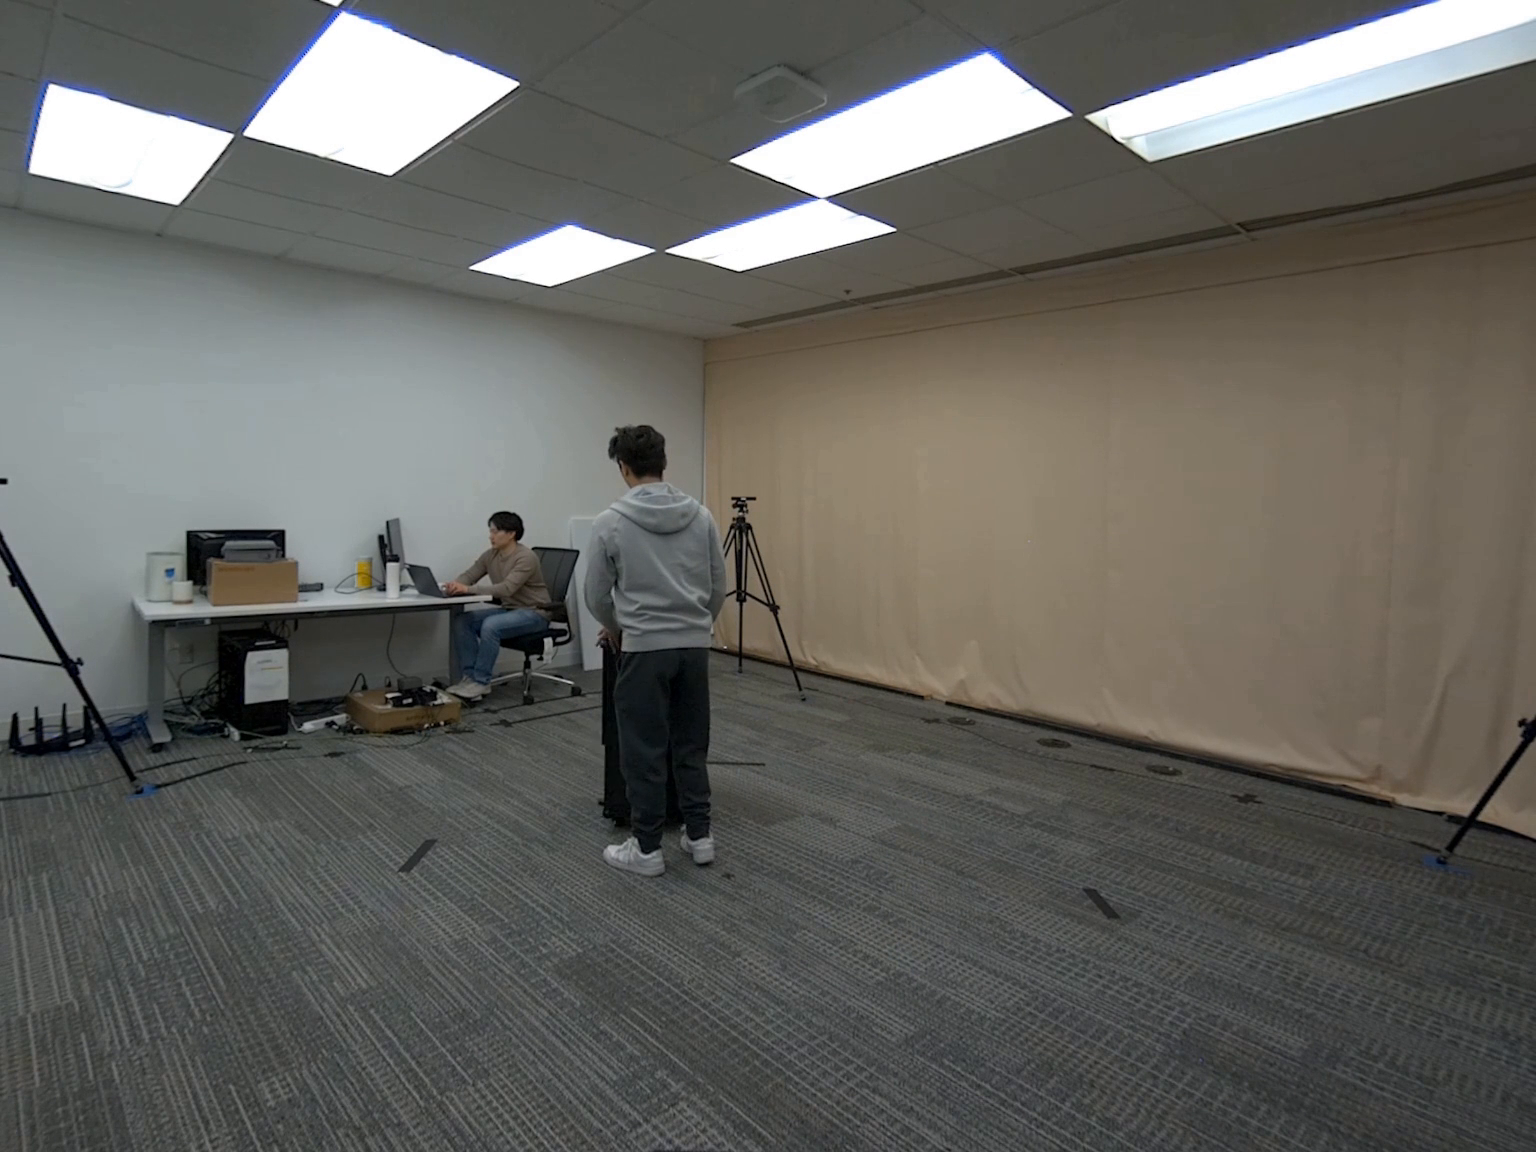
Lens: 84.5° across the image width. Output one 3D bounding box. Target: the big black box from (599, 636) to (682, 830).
[{"bbox_3d":[-0.537,0.629,3.686,0.394,0.859,0.525,1,3,-7],"label":"big black box"}]
